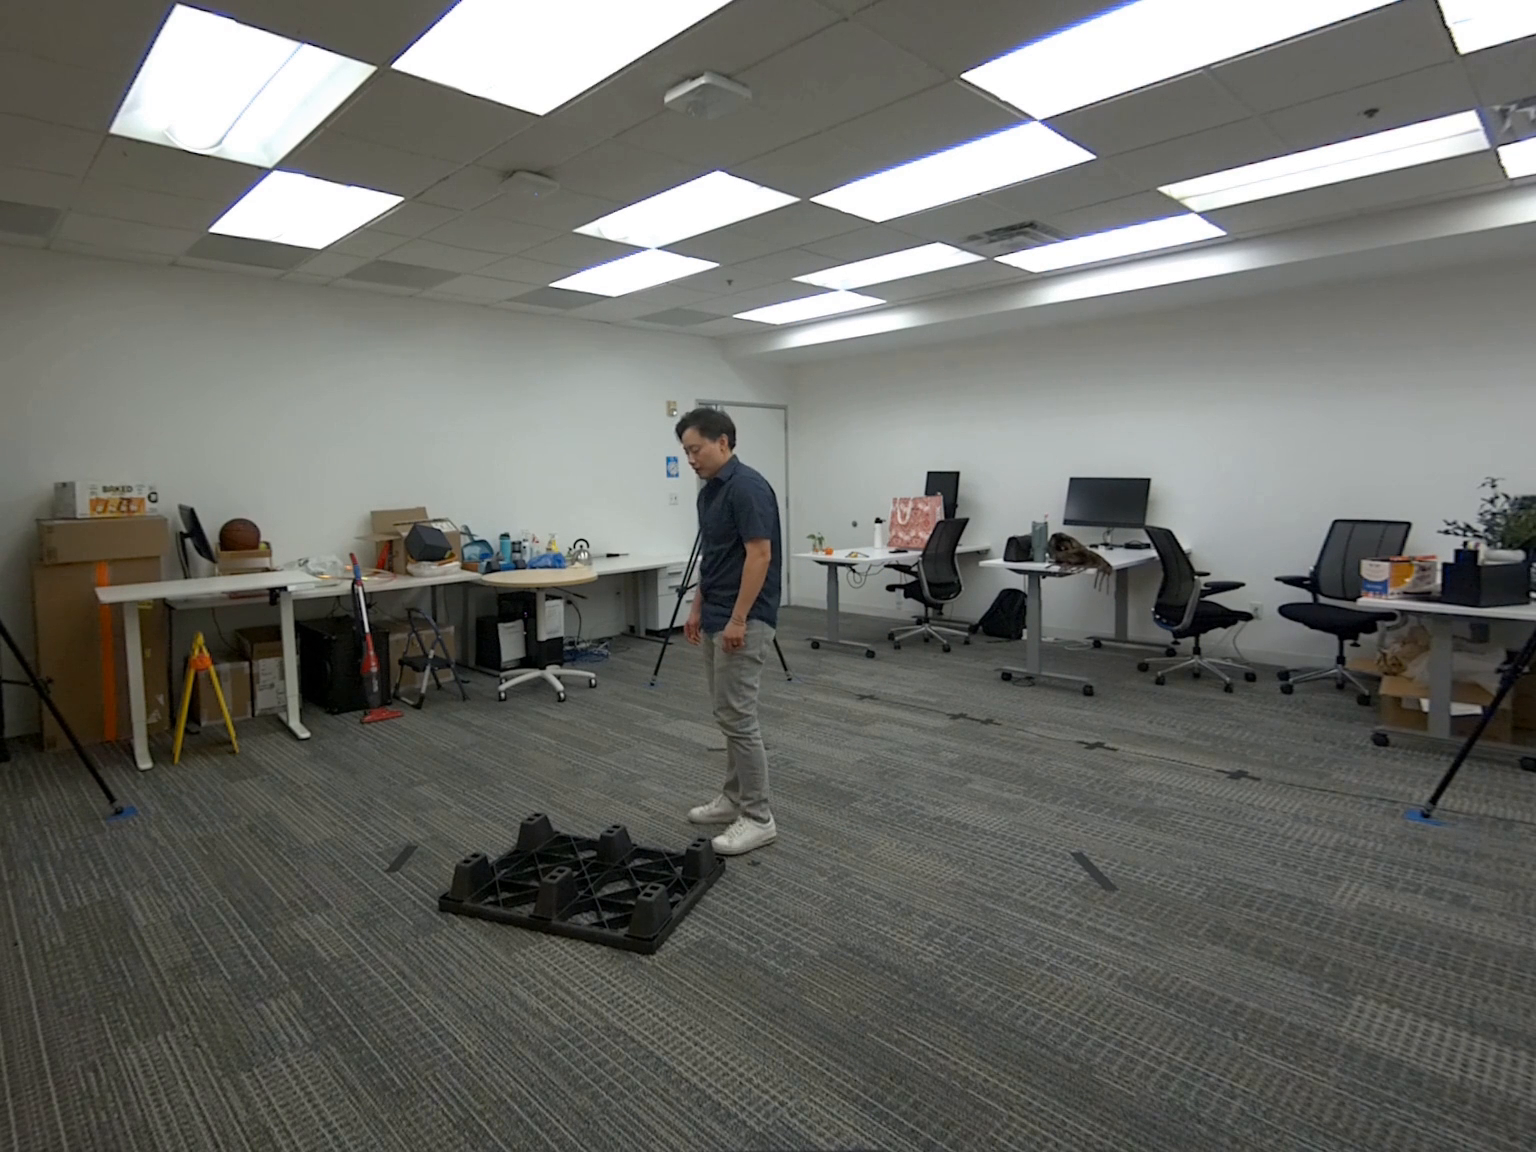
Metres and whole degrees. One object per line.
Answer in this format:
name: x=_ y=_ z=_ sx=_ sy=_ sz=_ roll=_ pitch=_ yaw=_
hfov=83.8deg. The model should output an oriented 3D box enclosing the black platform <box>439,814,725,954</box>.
black platform: x=-0.622 y=1.012 z=2.929 sx=0.822 sy=0.143 sz=0.596 roll=1 pitch=6 yaw=21
